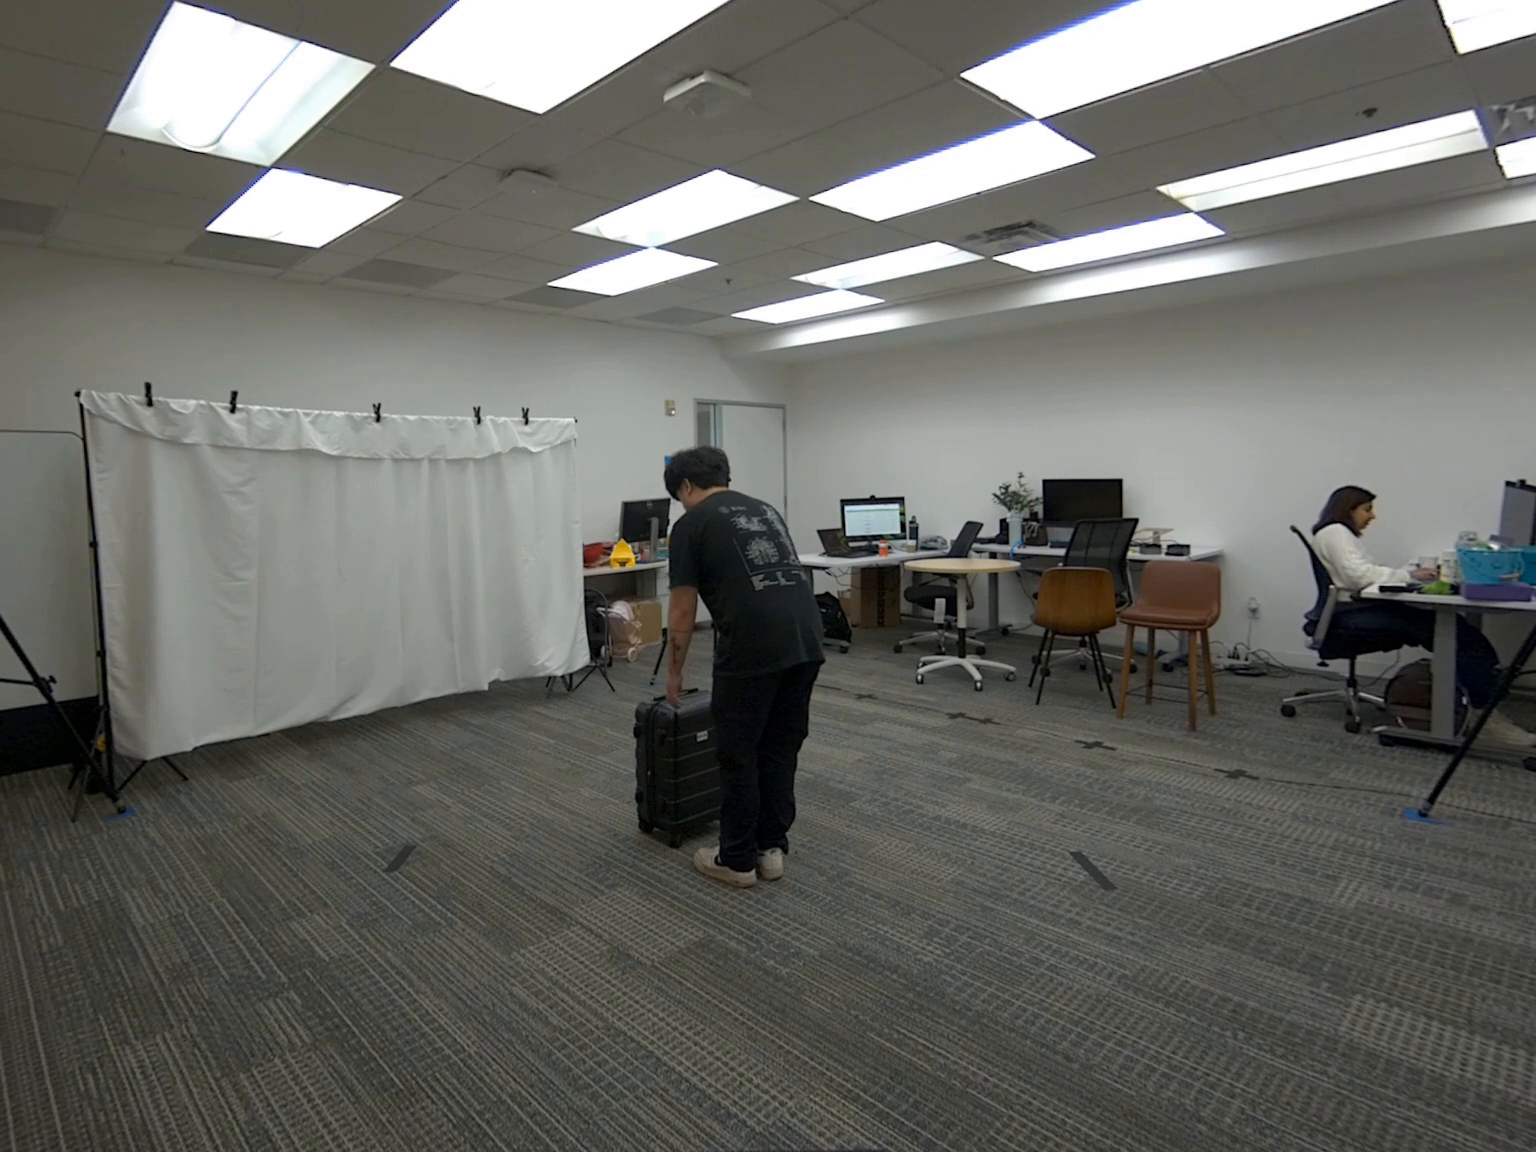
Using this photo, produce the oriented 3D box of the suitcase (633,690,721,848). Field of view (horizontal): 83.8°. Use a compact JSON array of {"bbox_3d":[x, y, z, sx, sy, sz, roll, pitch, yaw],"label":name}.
[{"bbox_3d":[-0.325,0.735,3.394,0.365,0.547,0.256,-5,6,-41],"label":"suitcase"}]
